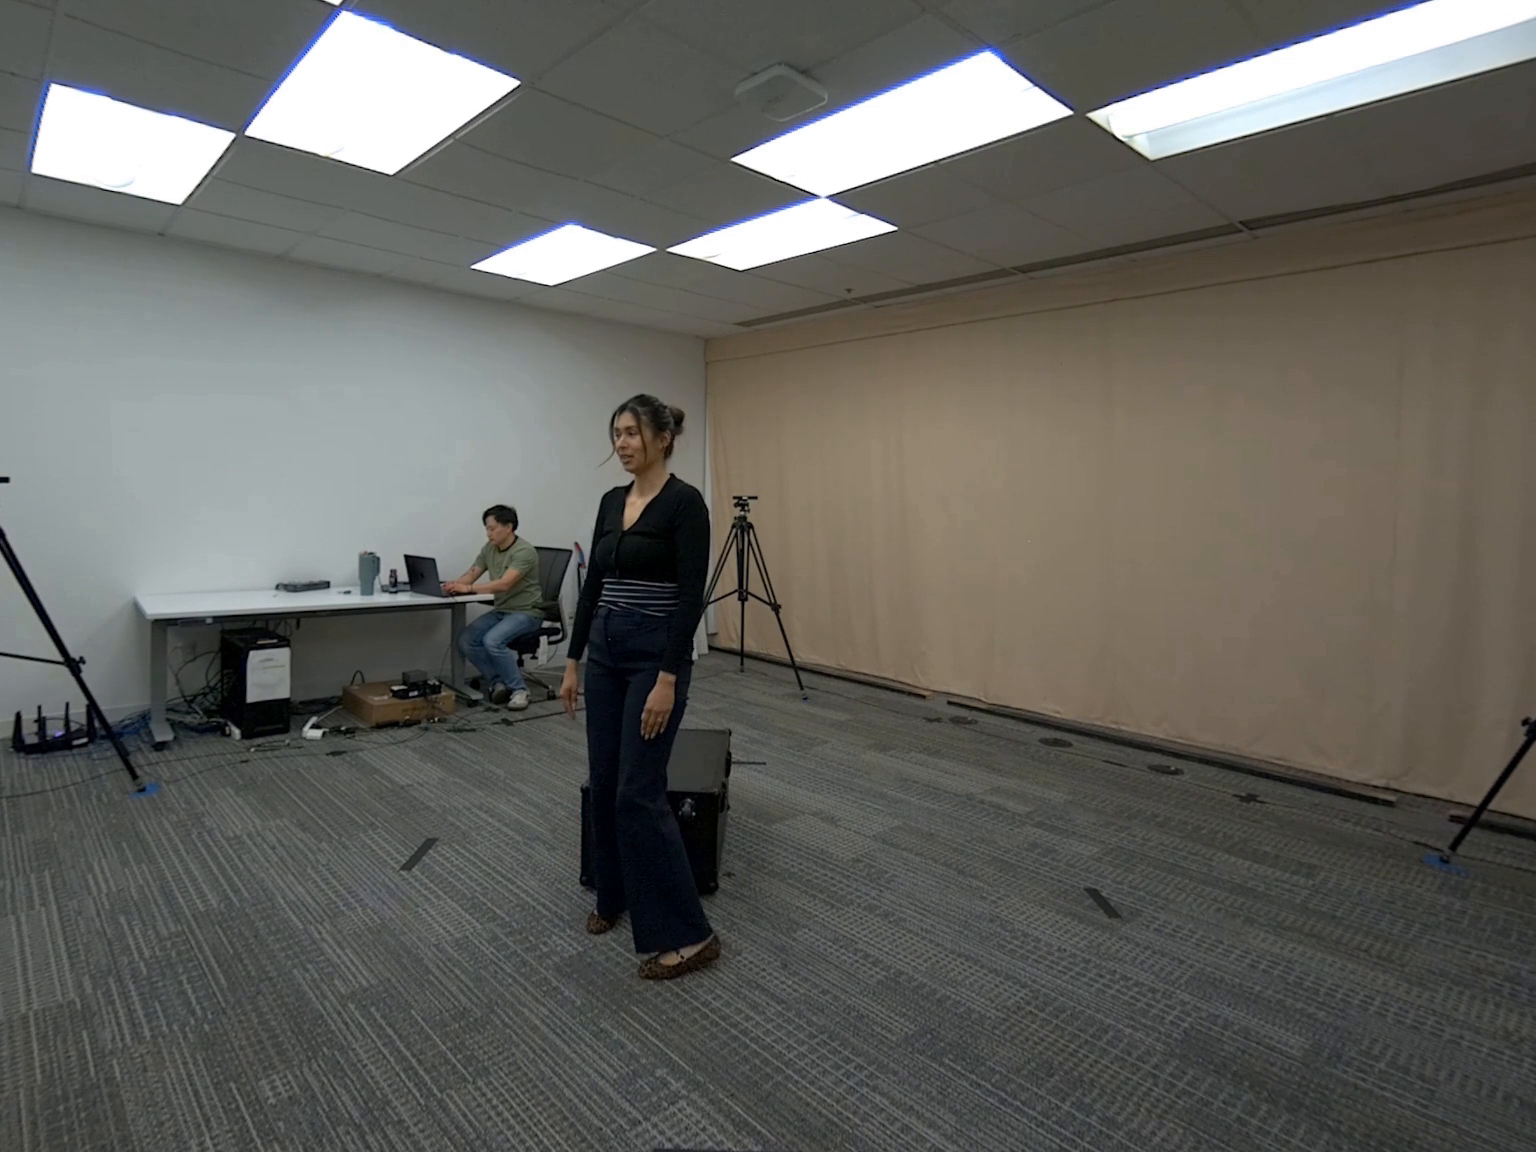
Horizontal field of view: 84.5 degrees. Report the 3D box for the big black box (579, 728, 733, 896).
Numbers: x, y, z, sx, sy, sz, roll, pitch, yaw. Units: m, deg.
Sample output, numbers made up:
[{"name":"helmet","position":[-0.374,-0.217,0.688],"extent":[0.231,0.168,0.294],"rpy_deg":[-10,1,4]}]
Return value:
[{"name":"big black box","position":[-0.419,0.891,3.277],"extent":[0.522,0.395,0.863],"rpy_deg":[2,5,1]}]
